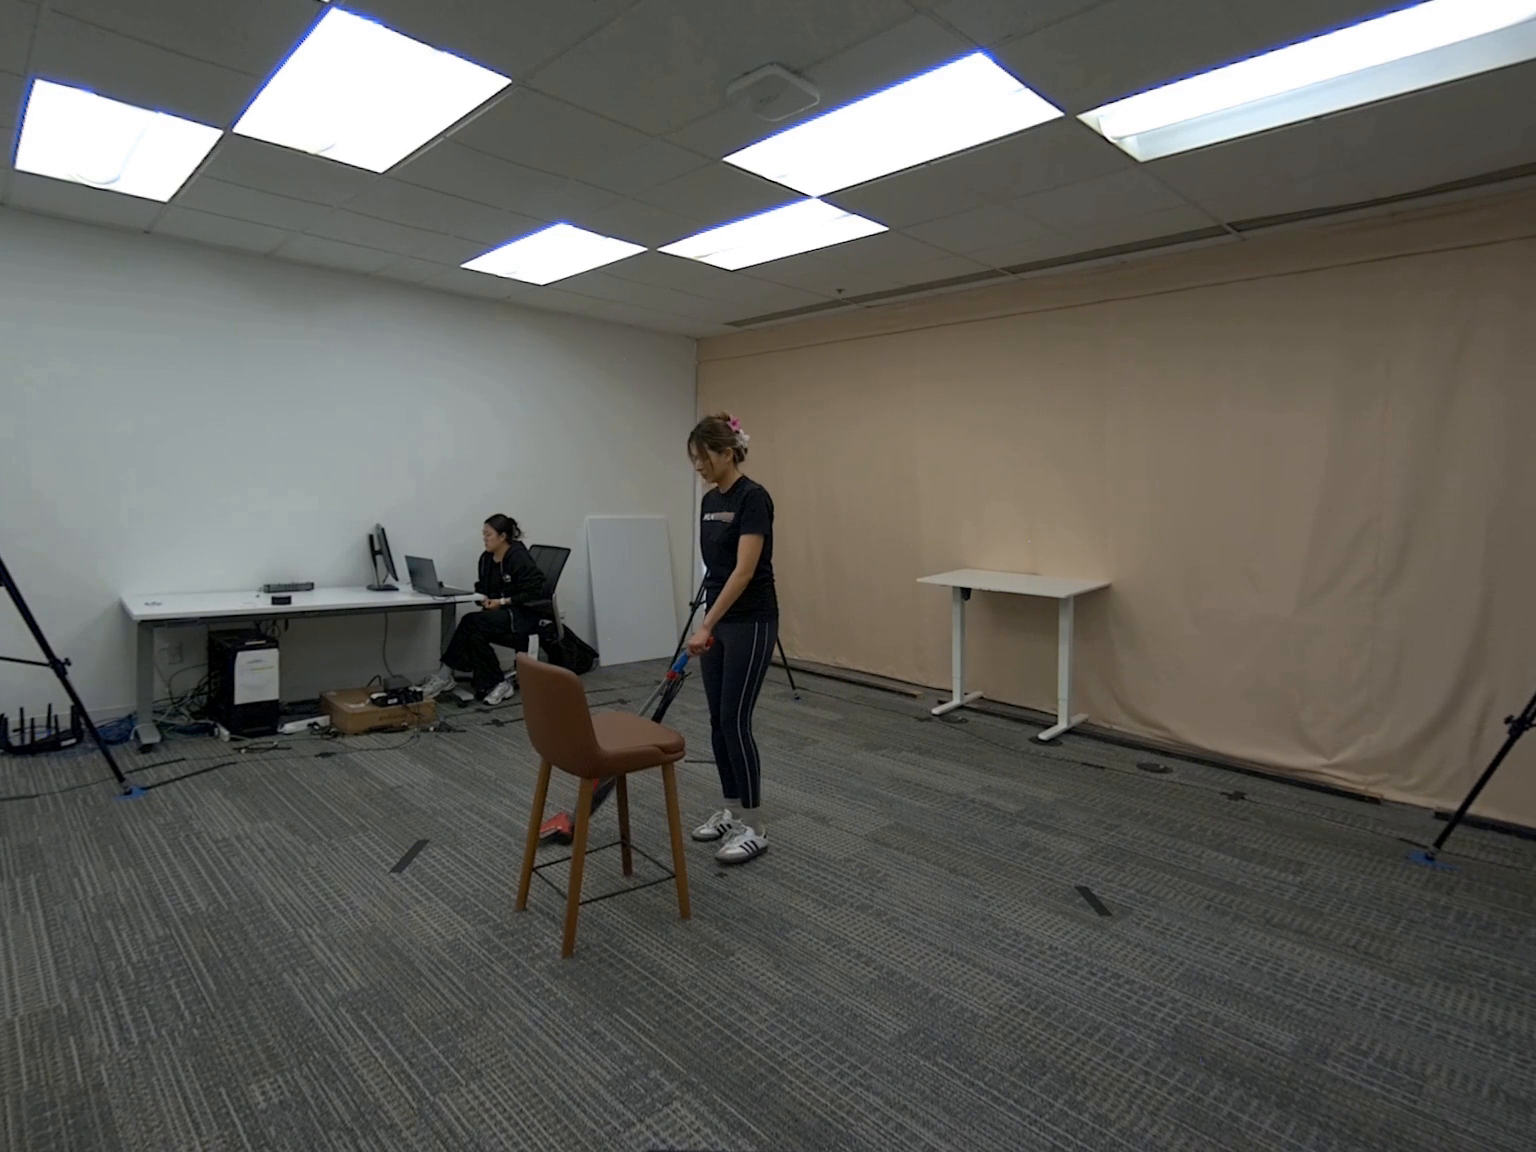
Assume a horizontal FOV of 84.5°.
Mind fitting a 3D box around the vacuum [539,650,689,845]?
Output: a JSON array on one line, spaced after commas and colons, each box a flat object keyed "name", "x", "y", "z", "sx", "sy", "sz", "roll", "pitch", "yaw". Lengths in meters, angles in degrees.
[{"name": "vacuum", "x": -0.528, "y": 0.649, "z": 3.275, "sx": 0.146, "sy": 1.048, "sz": 0.249, "roll": 42, "pitch": 15, "yaw": 11}]
